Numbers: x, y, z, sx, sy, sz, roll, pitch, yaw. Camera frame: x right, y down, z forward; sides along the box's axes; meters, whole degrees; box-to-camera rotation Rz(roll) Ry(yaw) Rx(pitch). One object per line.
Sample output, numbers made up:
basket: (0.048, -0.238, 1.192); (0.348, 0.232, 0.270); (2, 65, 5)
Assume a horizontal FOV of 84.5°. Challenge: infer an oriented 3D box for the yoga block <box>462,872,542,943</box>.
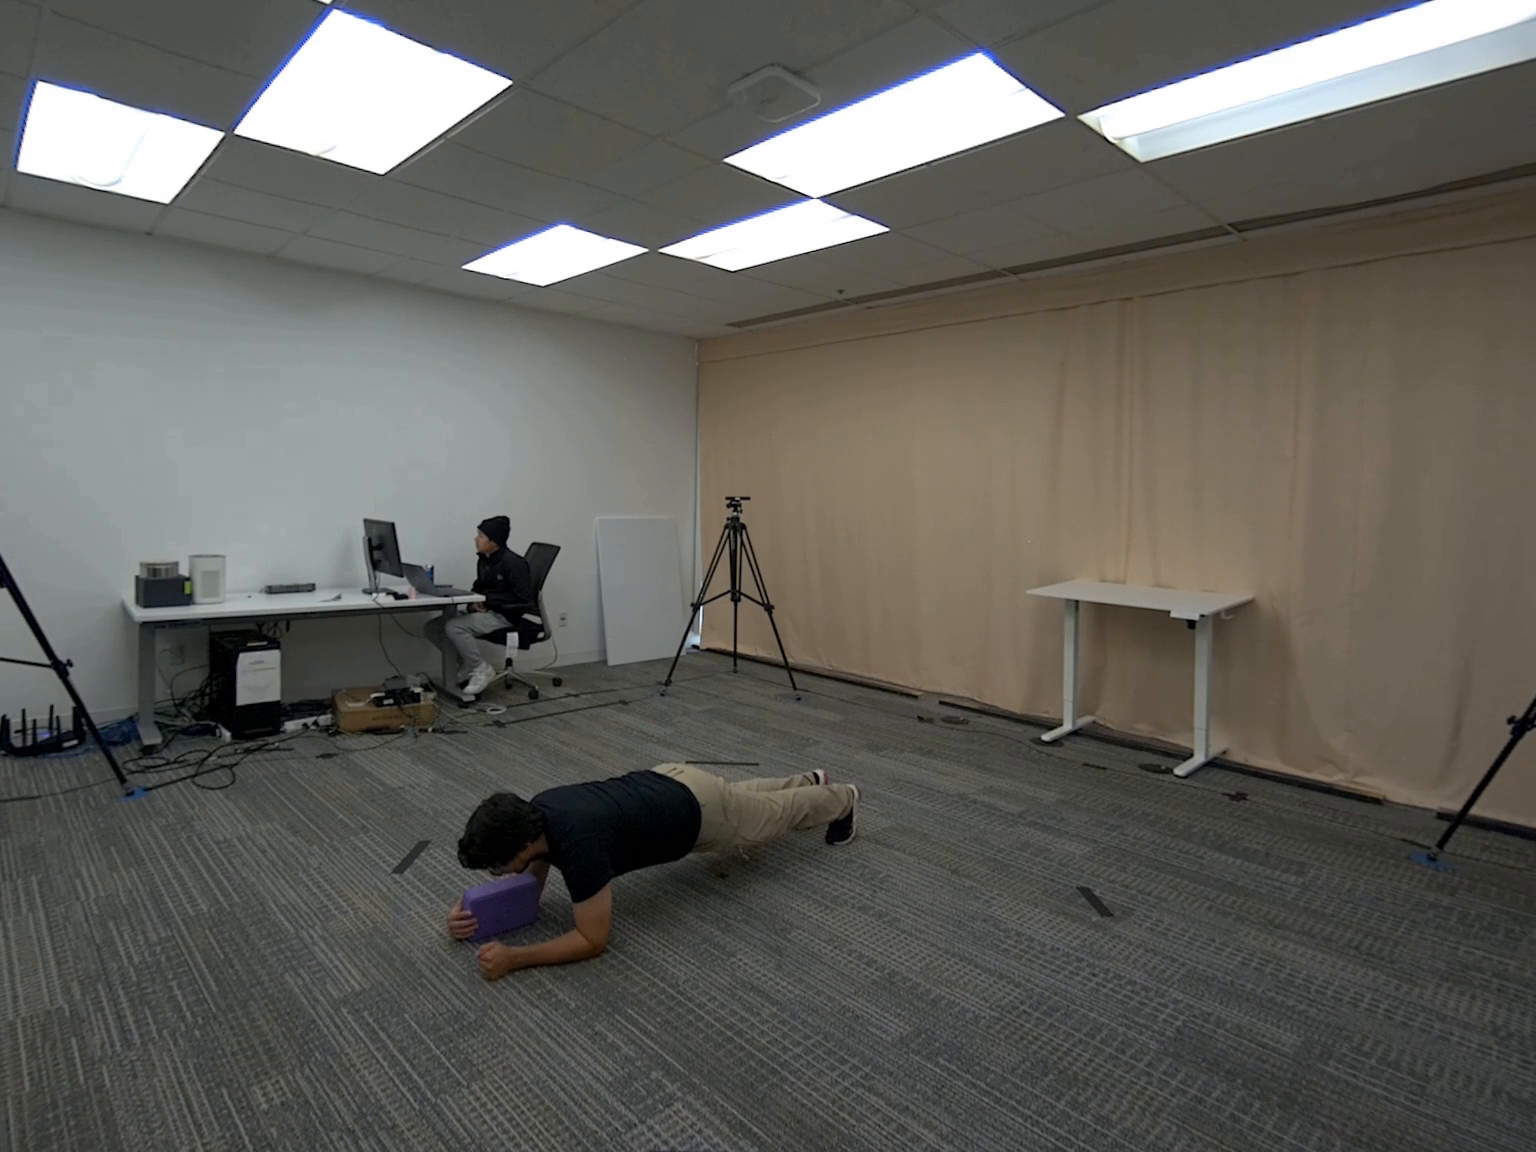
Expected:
yoga block: (-0.865, 1.055, 2.686); (0.224, 0.148, 0.078); (-4, 12, -37)
